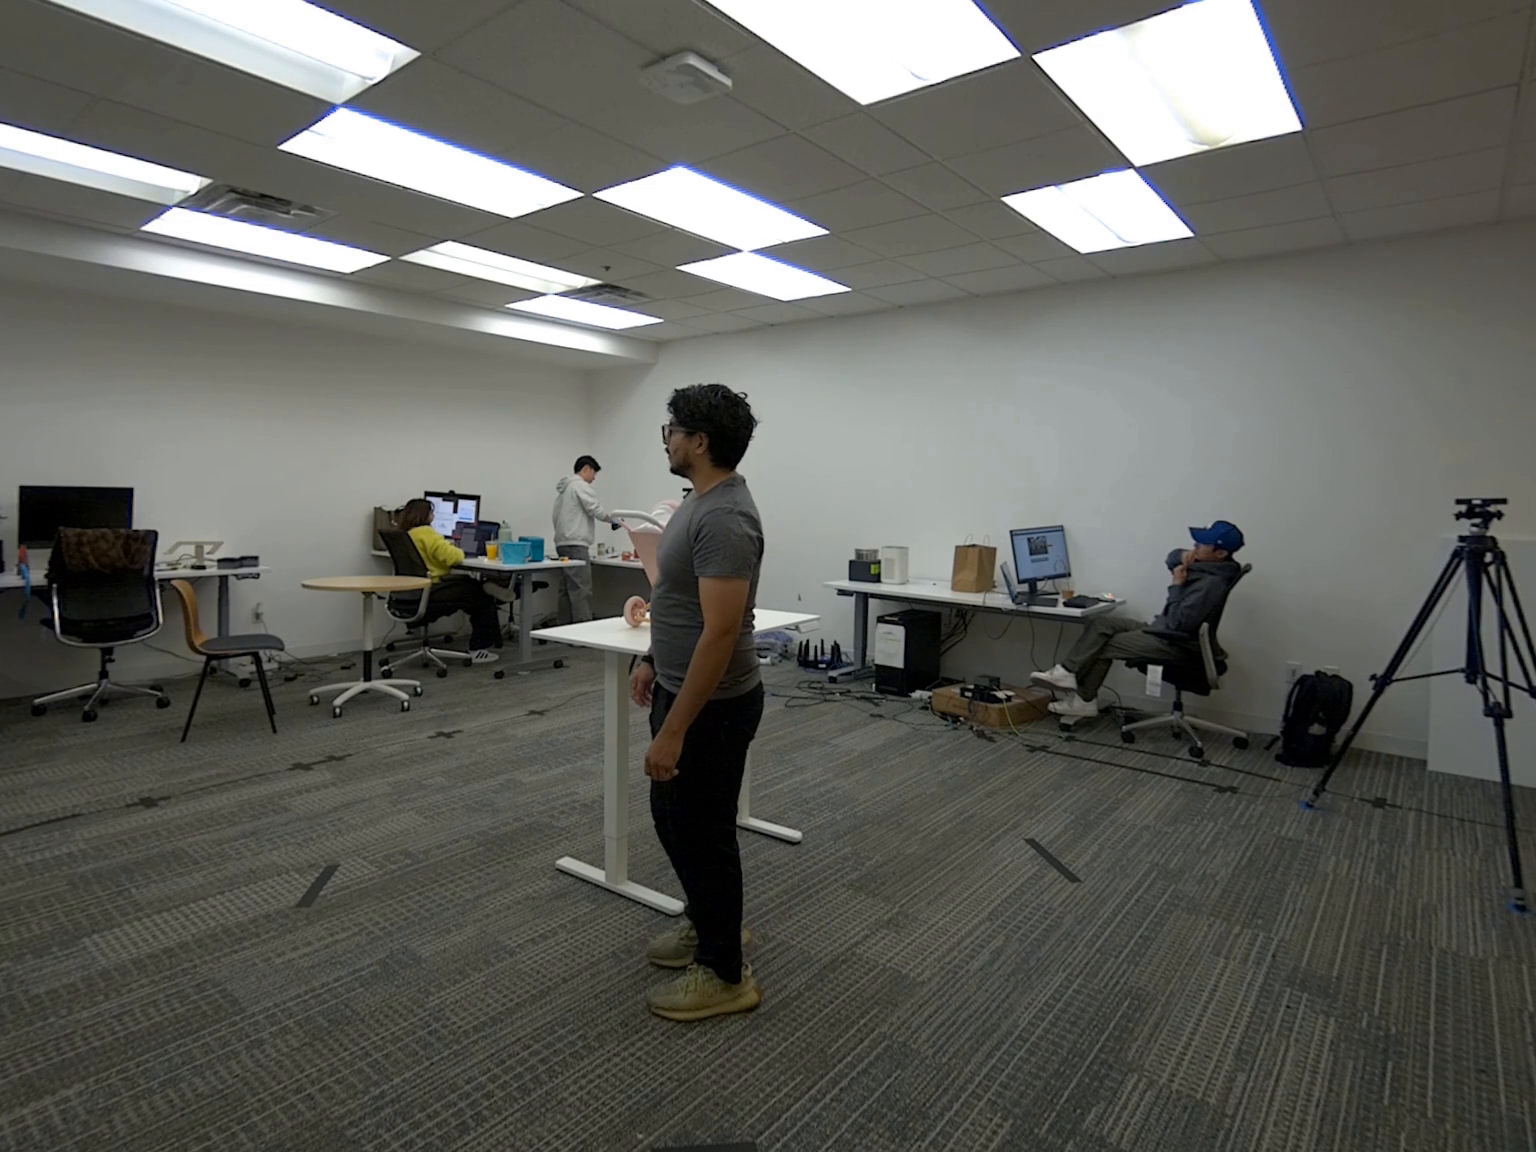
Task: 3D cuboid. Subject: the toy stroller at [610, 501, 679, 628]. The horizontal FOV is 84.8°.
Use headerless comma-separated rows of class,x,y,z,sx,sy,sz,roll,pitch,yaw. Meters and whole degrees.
toy stroller,-0.355,-0.034,3.071,0.291,0.526,0.336,3,21,42
